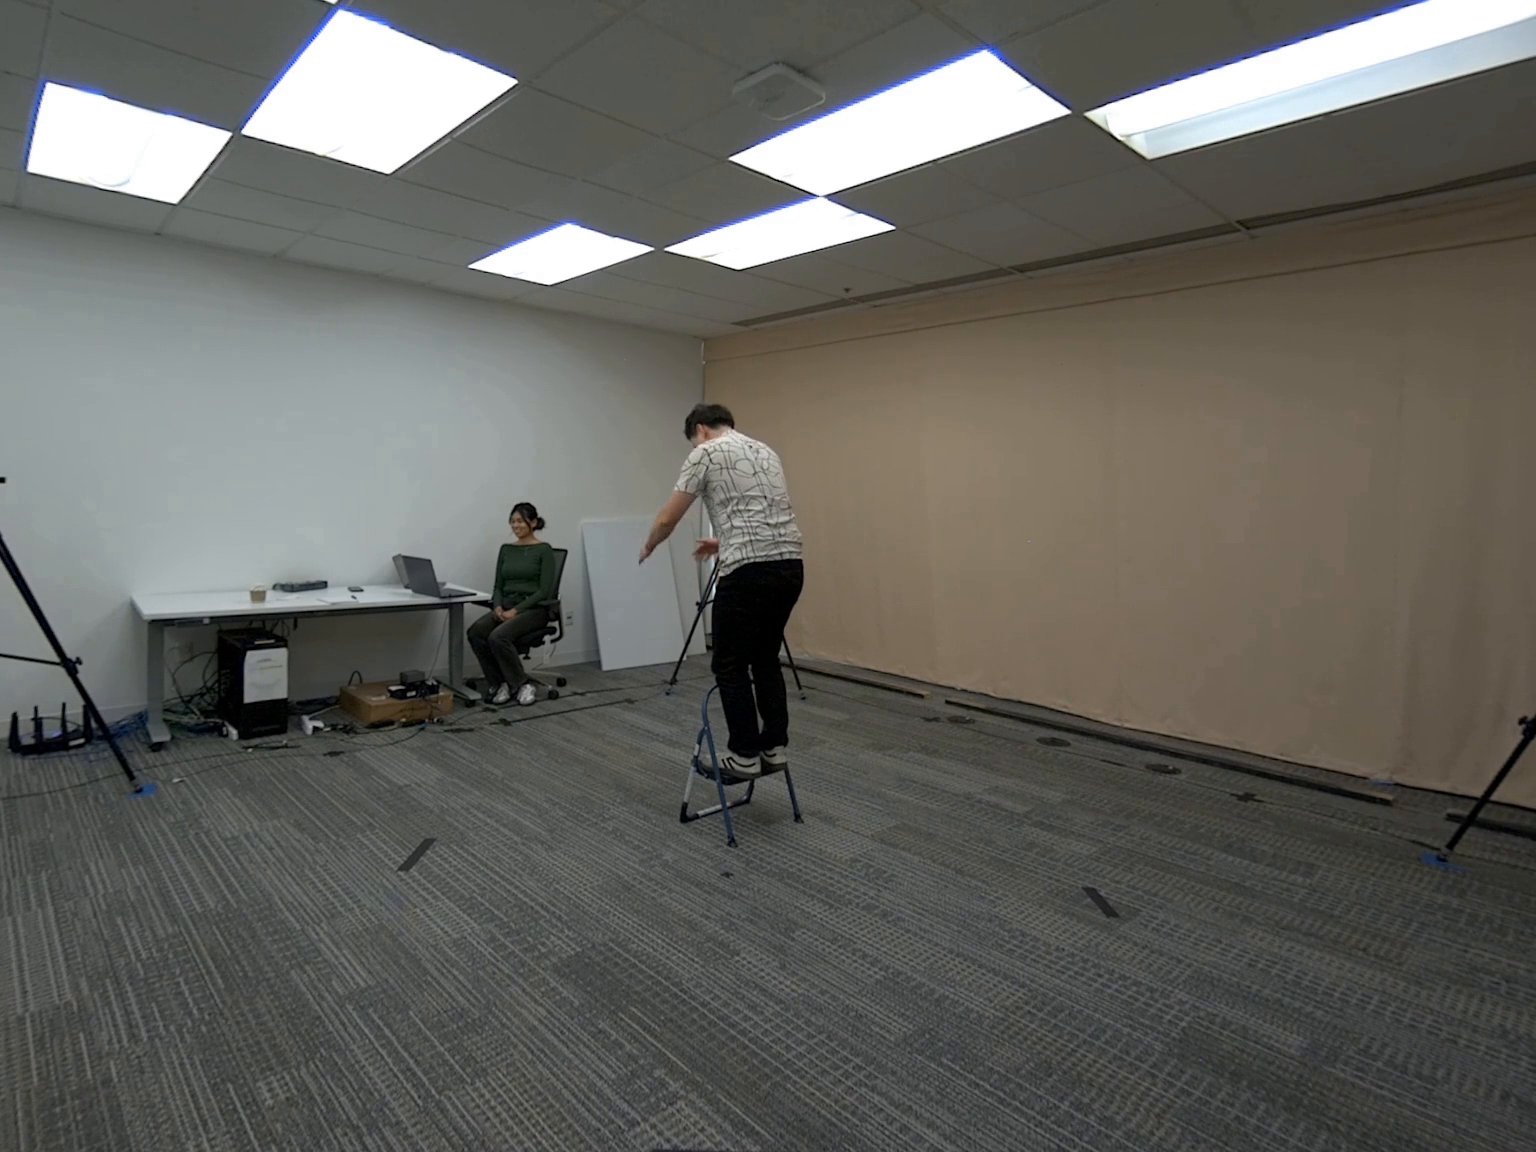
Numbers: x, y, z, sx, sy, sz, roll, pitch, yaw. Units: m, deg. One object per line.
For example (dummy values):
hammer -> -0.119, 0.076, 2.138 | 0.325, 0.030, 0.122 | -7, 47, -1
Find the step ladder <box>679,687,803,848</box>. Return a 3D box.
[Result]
step ladder -> -0.117, 0.754, 3.604 | 0.358, 0.605, 0.421 | 3, 4, 44
